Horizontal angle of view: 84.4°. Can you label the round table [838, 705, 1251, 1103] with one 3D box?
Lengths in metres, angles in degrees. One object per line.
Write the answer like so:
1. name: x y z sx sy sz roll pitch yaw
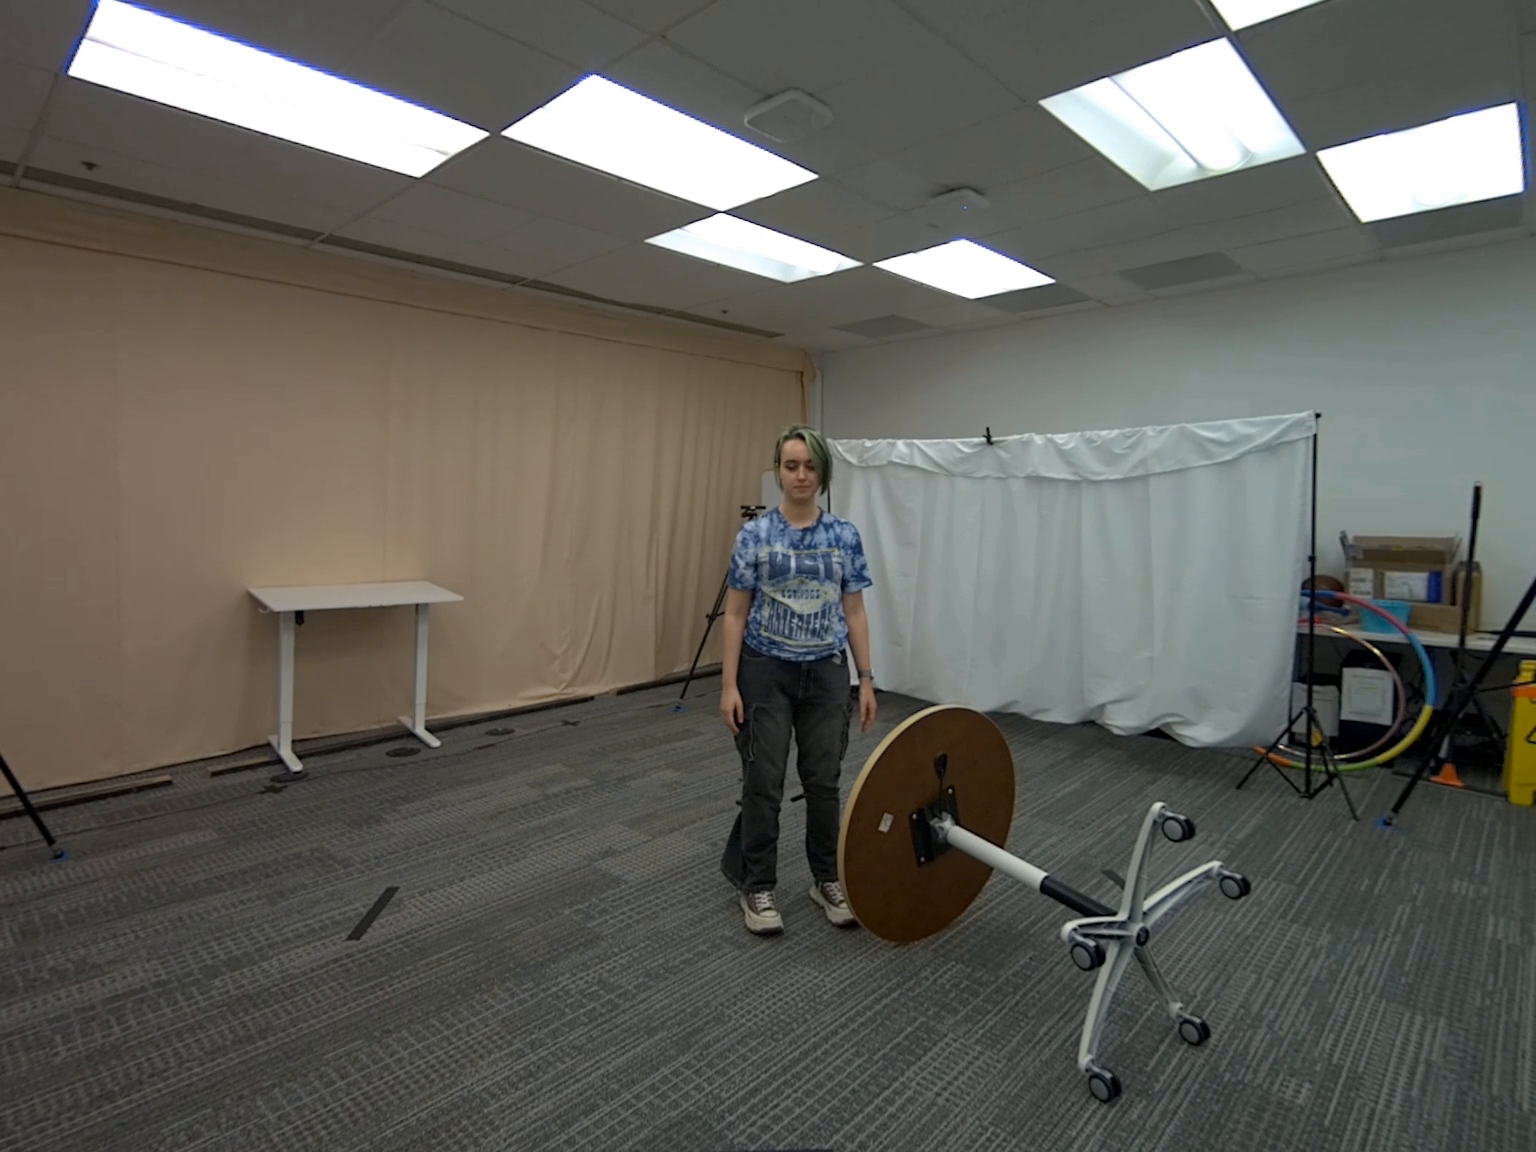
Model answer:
1. round table: 0.750 0.854 2.346 0.742 0.760 0.821 -2 10 -34
